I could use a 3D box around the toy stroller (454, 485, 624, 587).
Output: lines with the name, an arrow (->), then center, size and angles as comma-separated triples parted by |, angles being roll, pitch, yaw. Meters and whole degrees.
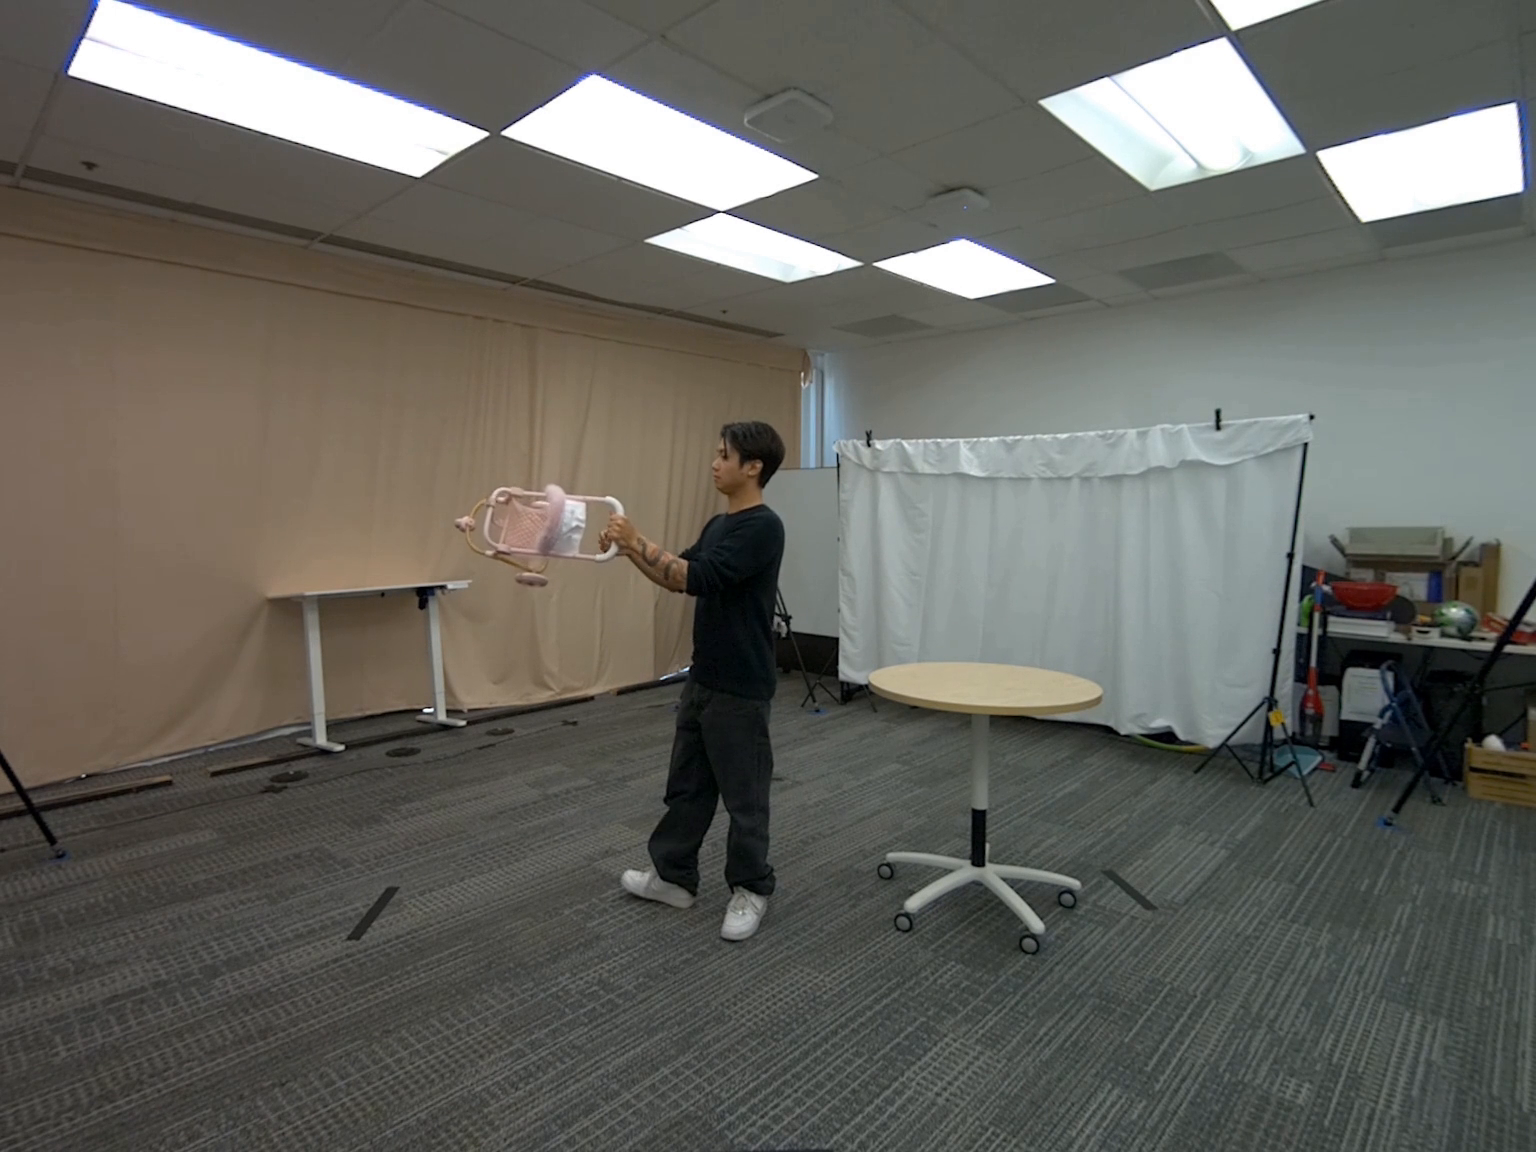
toy stroller -> -0.744, -0.156, 2.691 | 0.329, 0.283, 0.550 | 27, -23, -36
